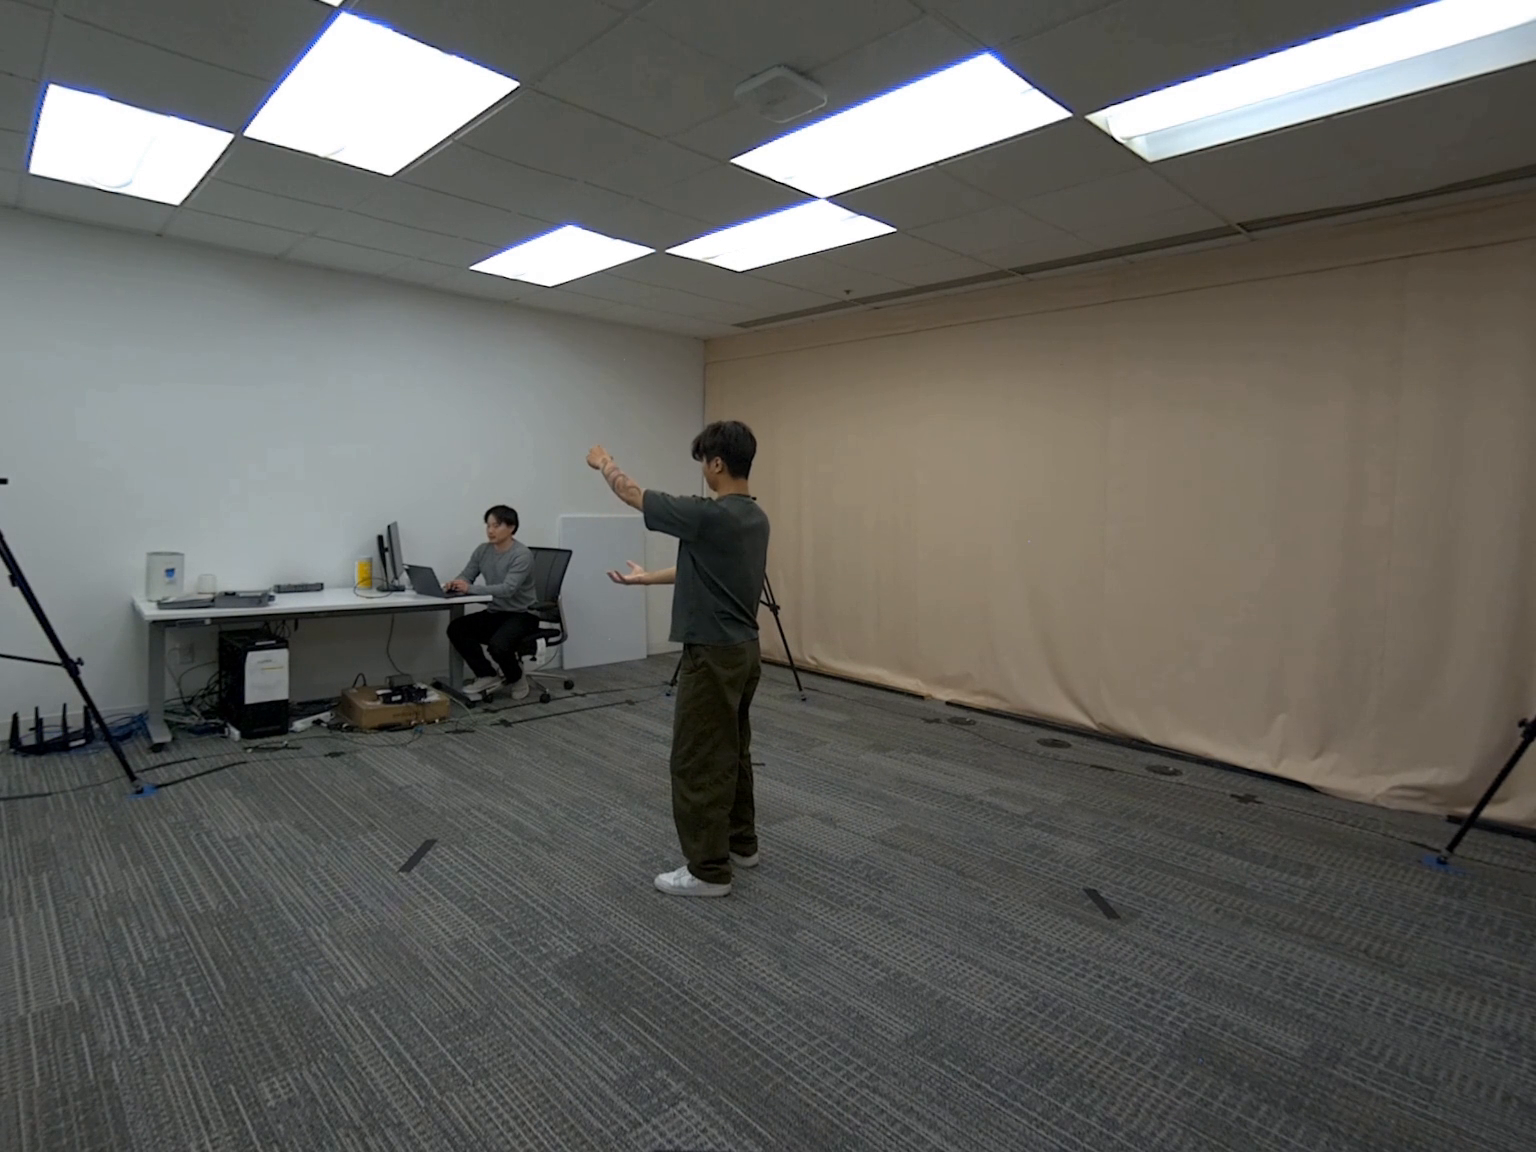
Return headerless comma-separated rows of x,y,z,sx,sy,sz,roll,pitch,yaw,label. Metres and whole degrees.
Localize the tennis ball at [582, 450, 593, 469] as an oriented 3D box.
-0.663,-0.443,3.202,0.066,0.066,0.067,1,4,-1,tennis ball
